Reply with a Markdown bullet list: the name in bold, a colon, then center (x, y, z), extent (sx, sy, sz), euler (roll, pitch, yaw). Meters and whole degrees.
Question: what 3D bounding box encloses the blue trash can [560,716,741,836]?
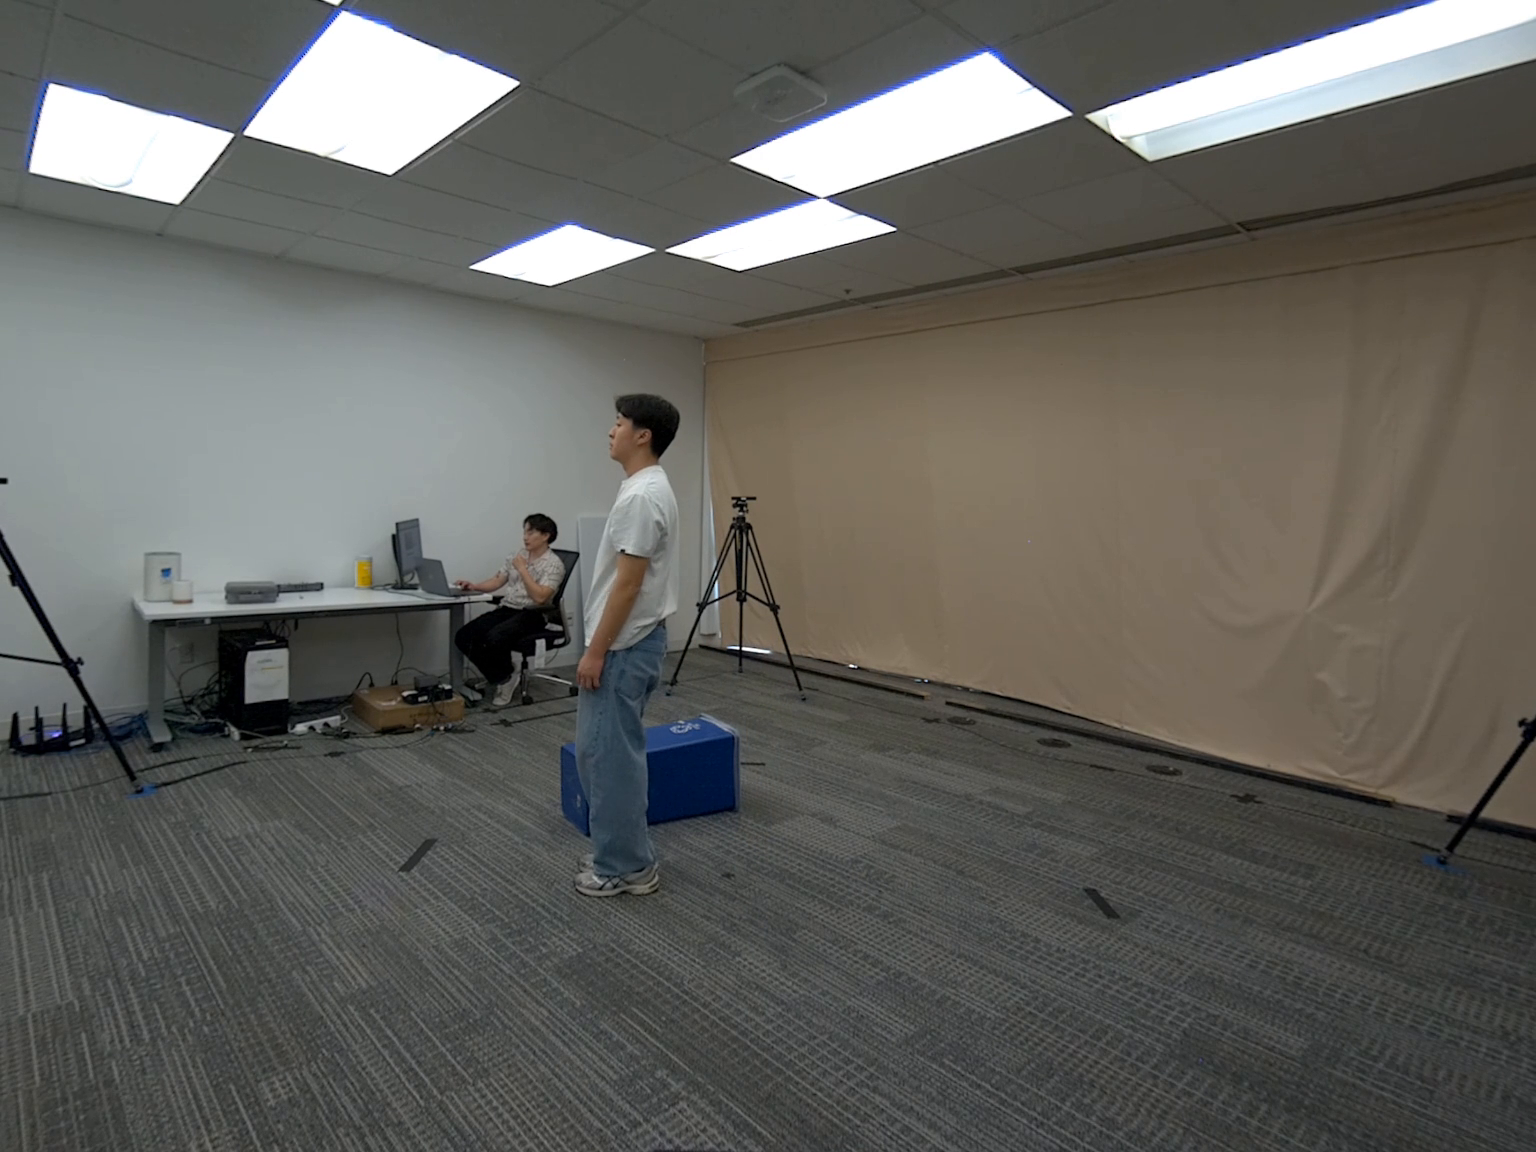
- **blue trash can**: center (-0.524, 0.868, 3.706), extent (0.699, 0.373, 0.387), euler (-3, 6, -32)
